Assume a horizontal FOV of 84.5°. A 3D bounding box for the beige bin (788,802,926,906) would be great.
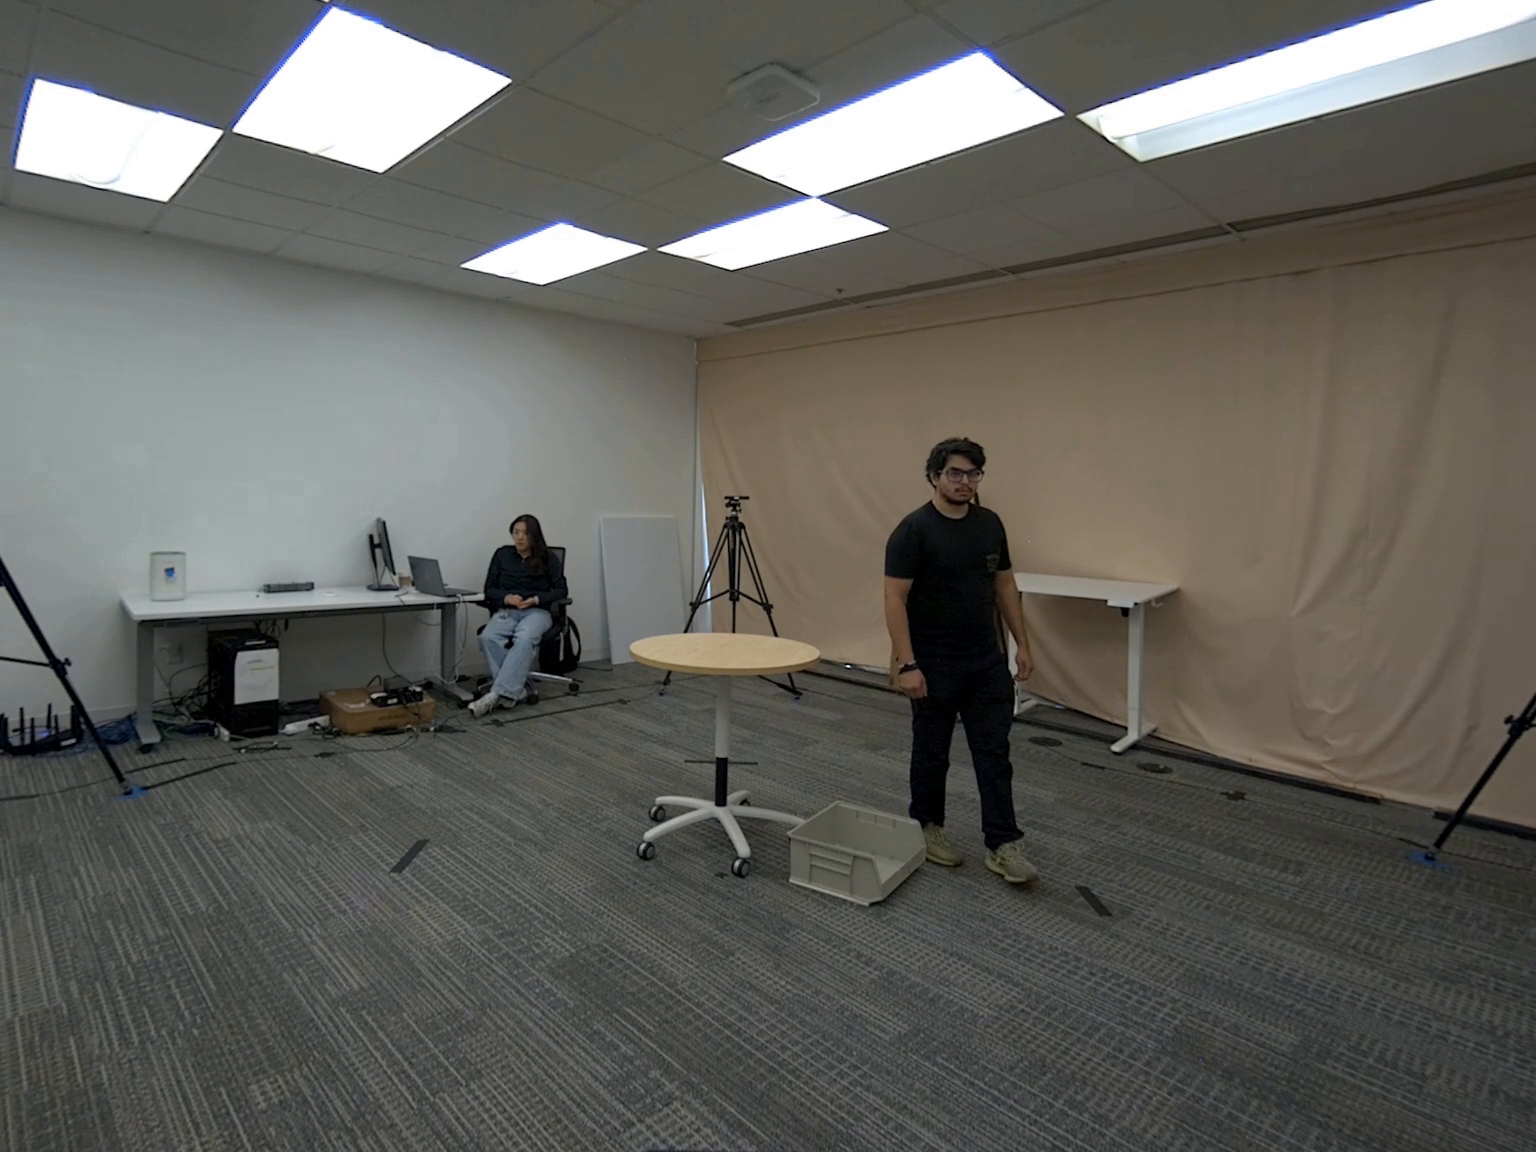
[{"bbox_3d":[0.326,1.023,3.128,0.386,0.188,0.414,3,5,32],"label":"beige bin"}]
